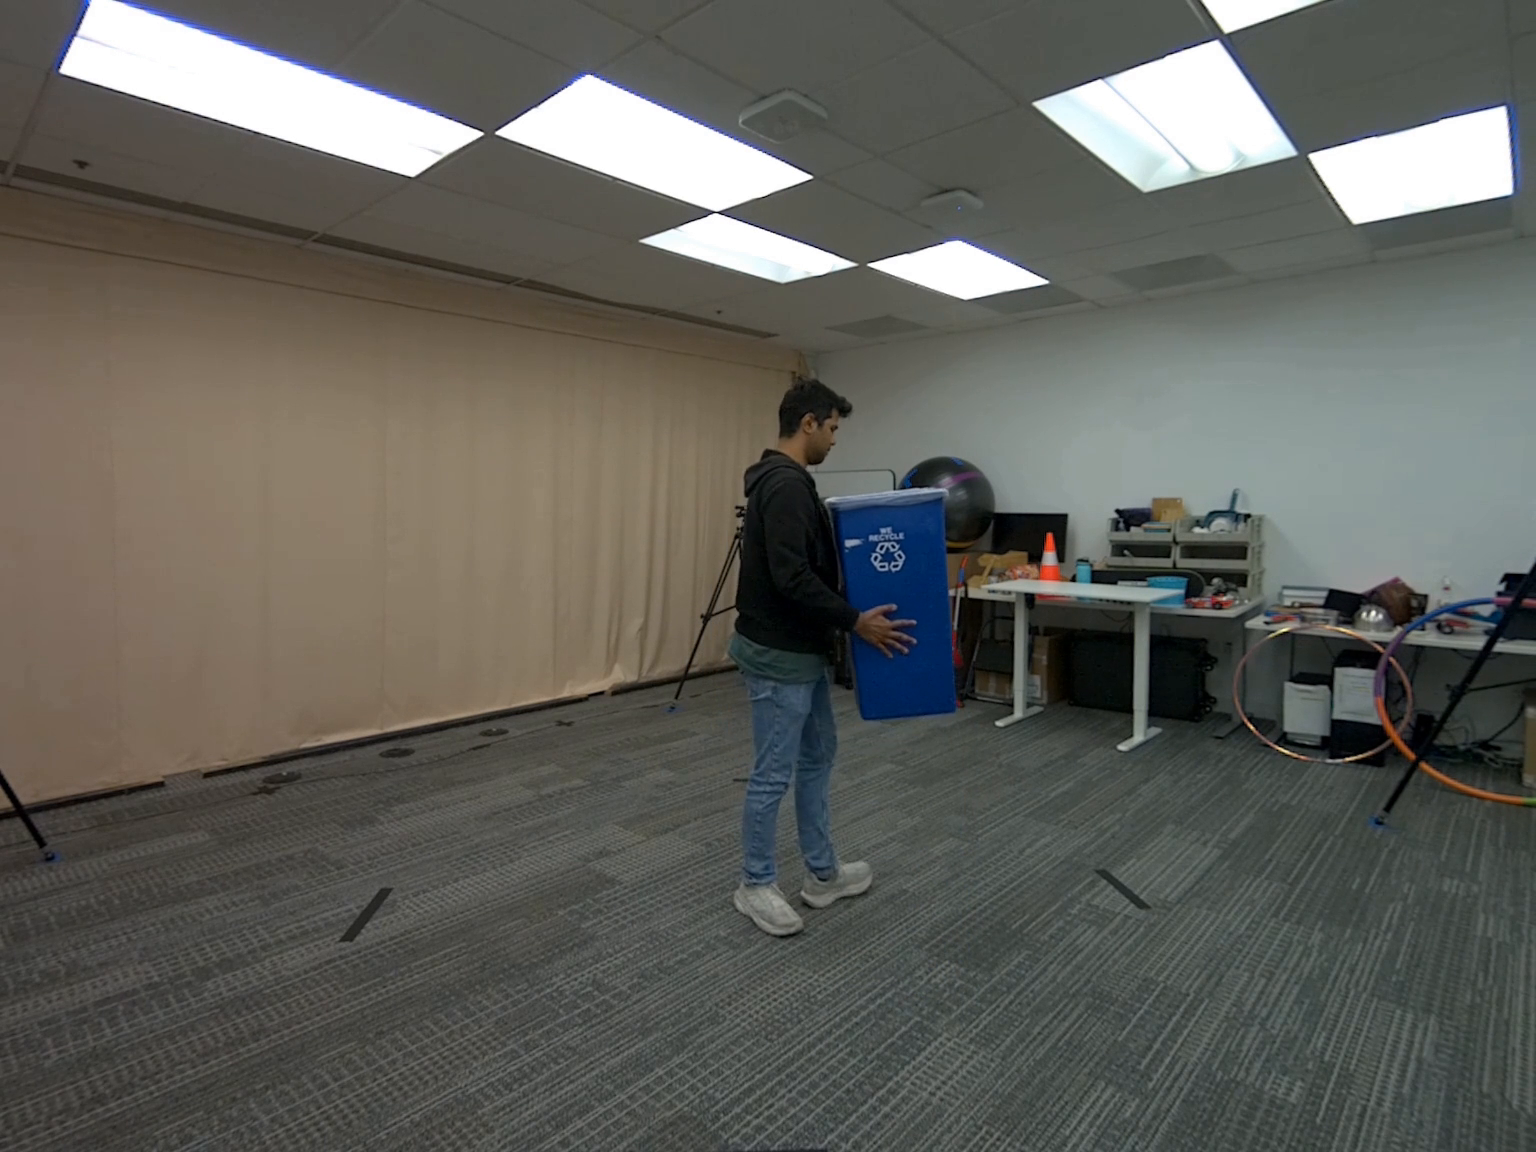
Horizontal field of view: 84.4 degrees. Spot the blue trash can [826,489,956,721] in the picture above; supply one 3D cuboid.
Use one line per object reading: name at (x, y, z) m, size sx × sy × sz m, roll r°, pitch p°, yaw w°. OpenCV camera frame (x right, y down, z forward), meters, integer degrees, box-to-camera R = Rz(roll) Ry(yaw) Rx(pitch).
blue trash can at (0.434, 0.077, 2.811) m, size 0.375 × 0.711 × 0.379 m, roll -7°, pitch 5°, yaw 1°
